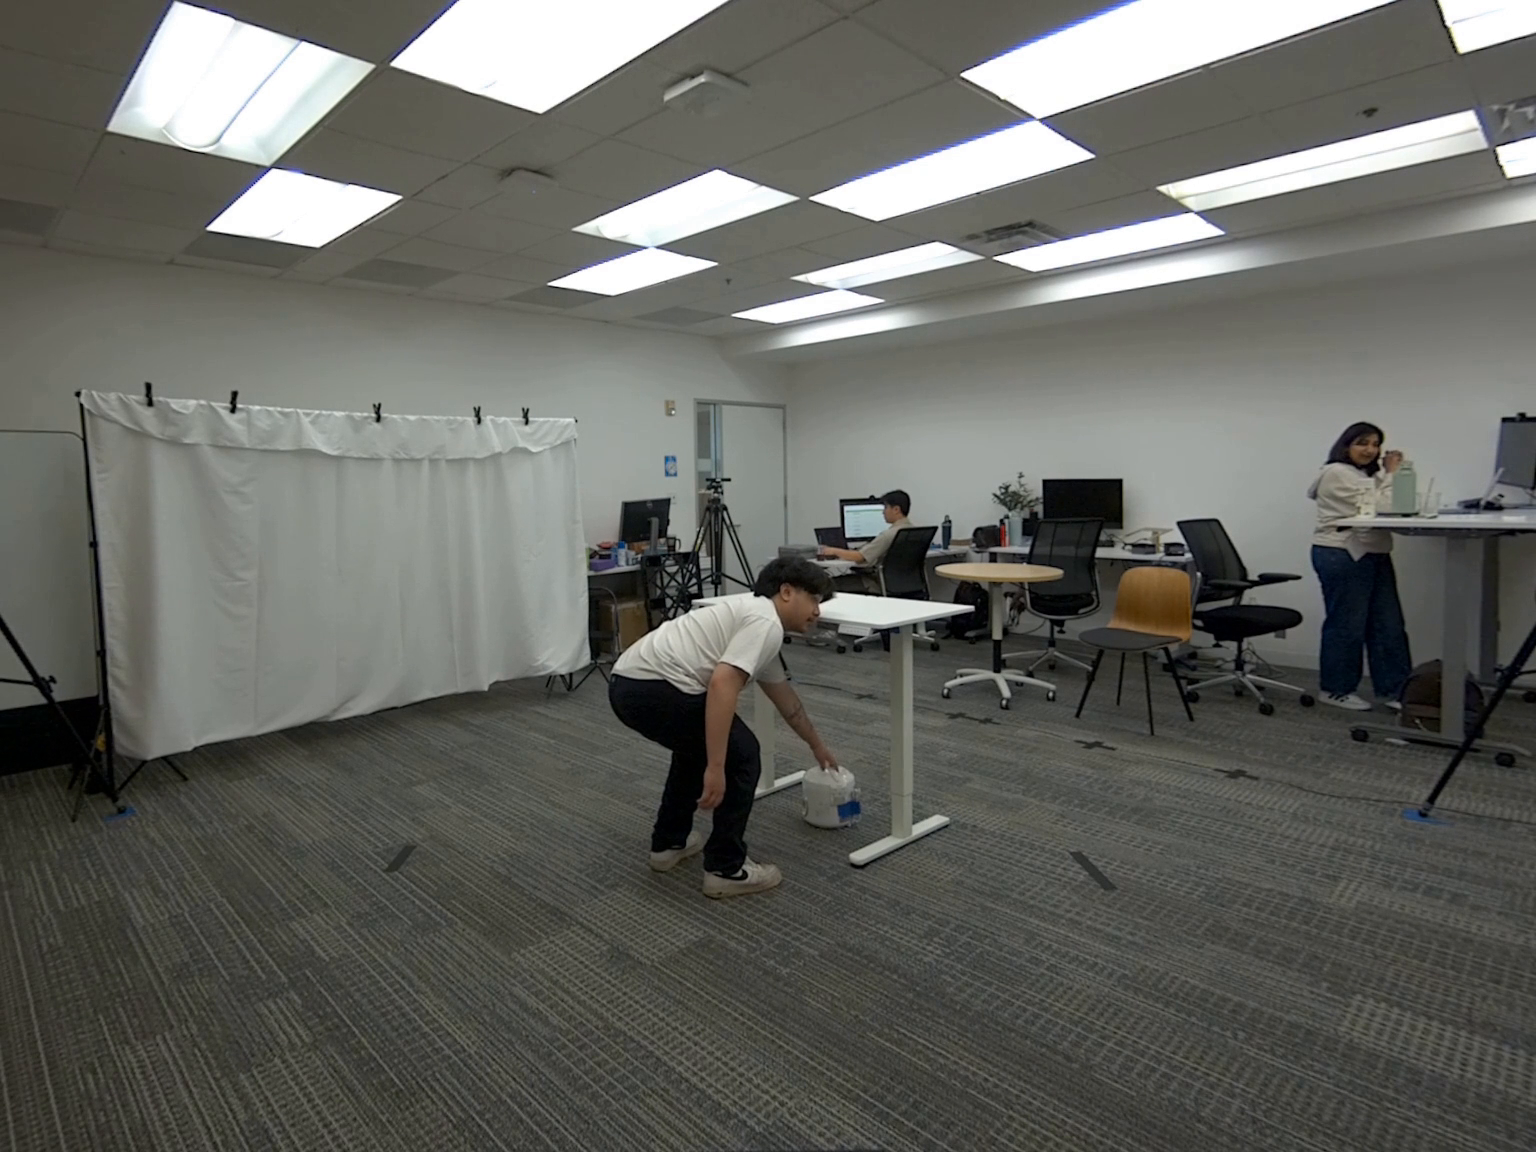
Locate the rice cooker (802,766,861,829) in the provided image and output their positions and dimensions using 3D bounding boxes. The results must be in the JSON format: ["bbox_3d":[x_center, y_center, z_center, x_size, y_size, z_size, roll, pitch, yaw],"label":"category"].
[{"bbox_3d":[0.242,0.880,3.462,0.214,0.232,0.225,-2,5,-17],"label":"rice cooker"}]
